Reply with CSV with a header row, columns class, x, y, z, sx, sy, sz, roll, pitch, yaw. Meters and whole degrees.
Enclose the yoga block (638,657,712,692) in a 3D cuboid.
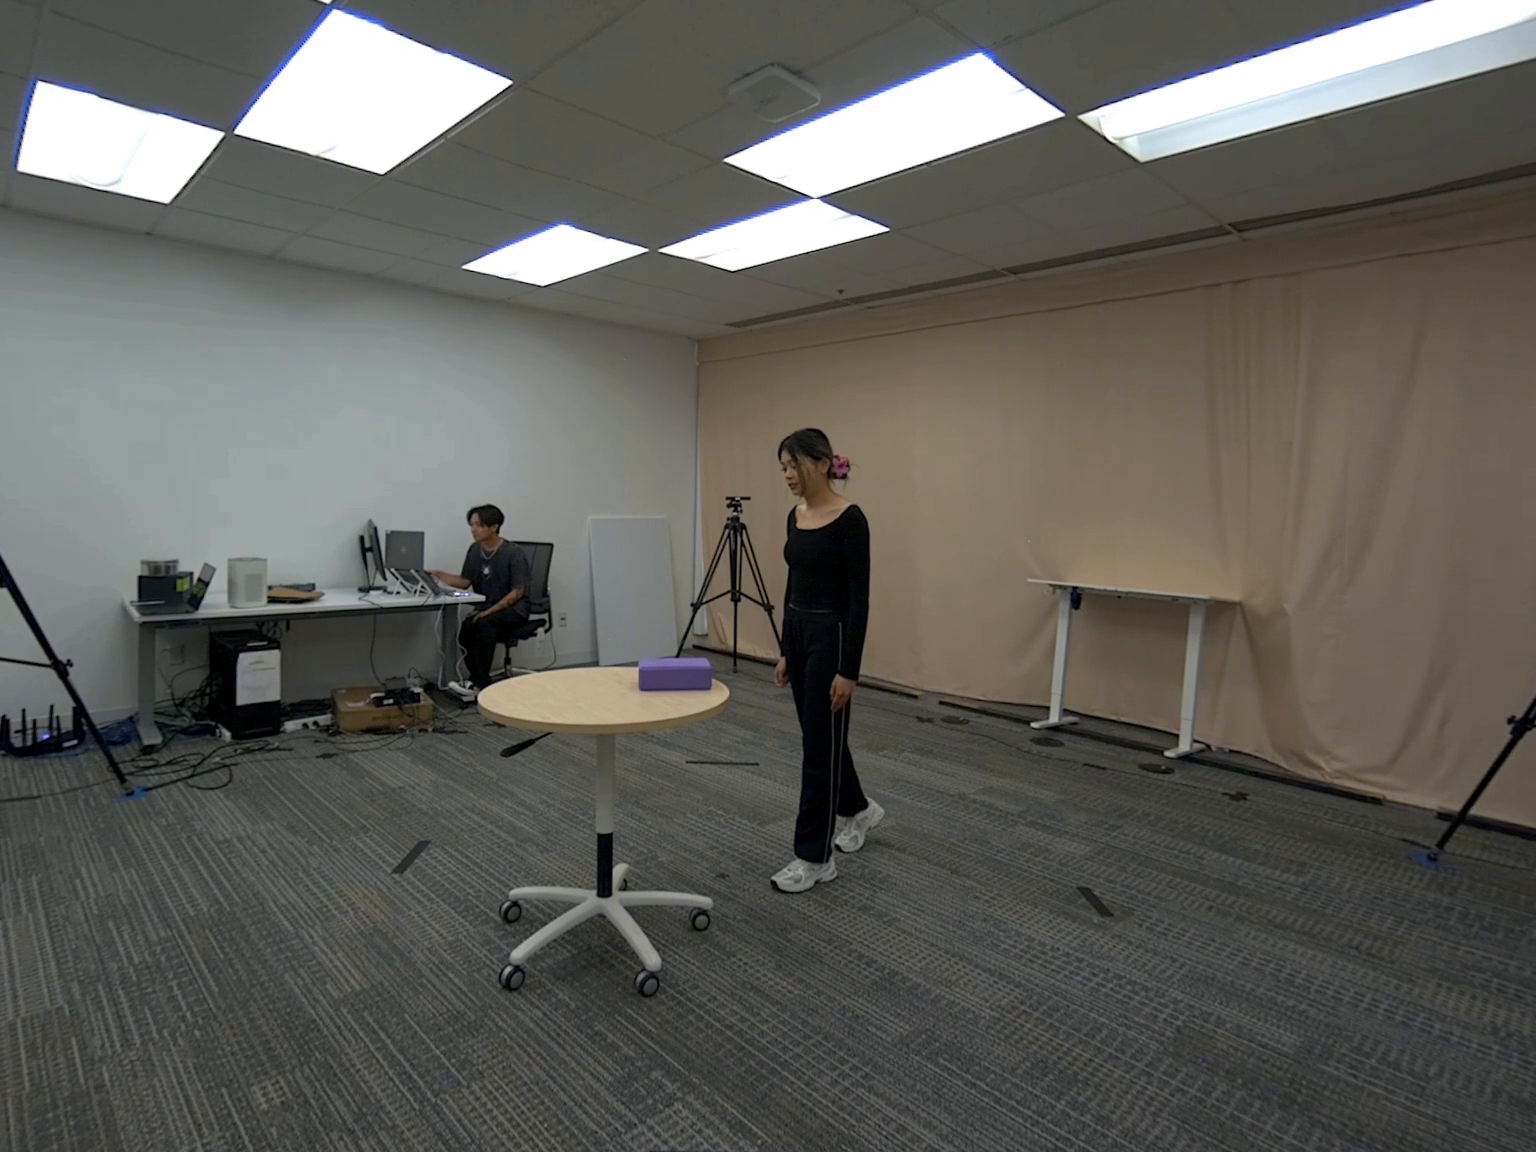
class,x,y,z,sx,sy,sz,roll,pitch,yaw
yoga block,-0.313,0.316,2.691,0.229,0.076,0.150,1,6,-3
